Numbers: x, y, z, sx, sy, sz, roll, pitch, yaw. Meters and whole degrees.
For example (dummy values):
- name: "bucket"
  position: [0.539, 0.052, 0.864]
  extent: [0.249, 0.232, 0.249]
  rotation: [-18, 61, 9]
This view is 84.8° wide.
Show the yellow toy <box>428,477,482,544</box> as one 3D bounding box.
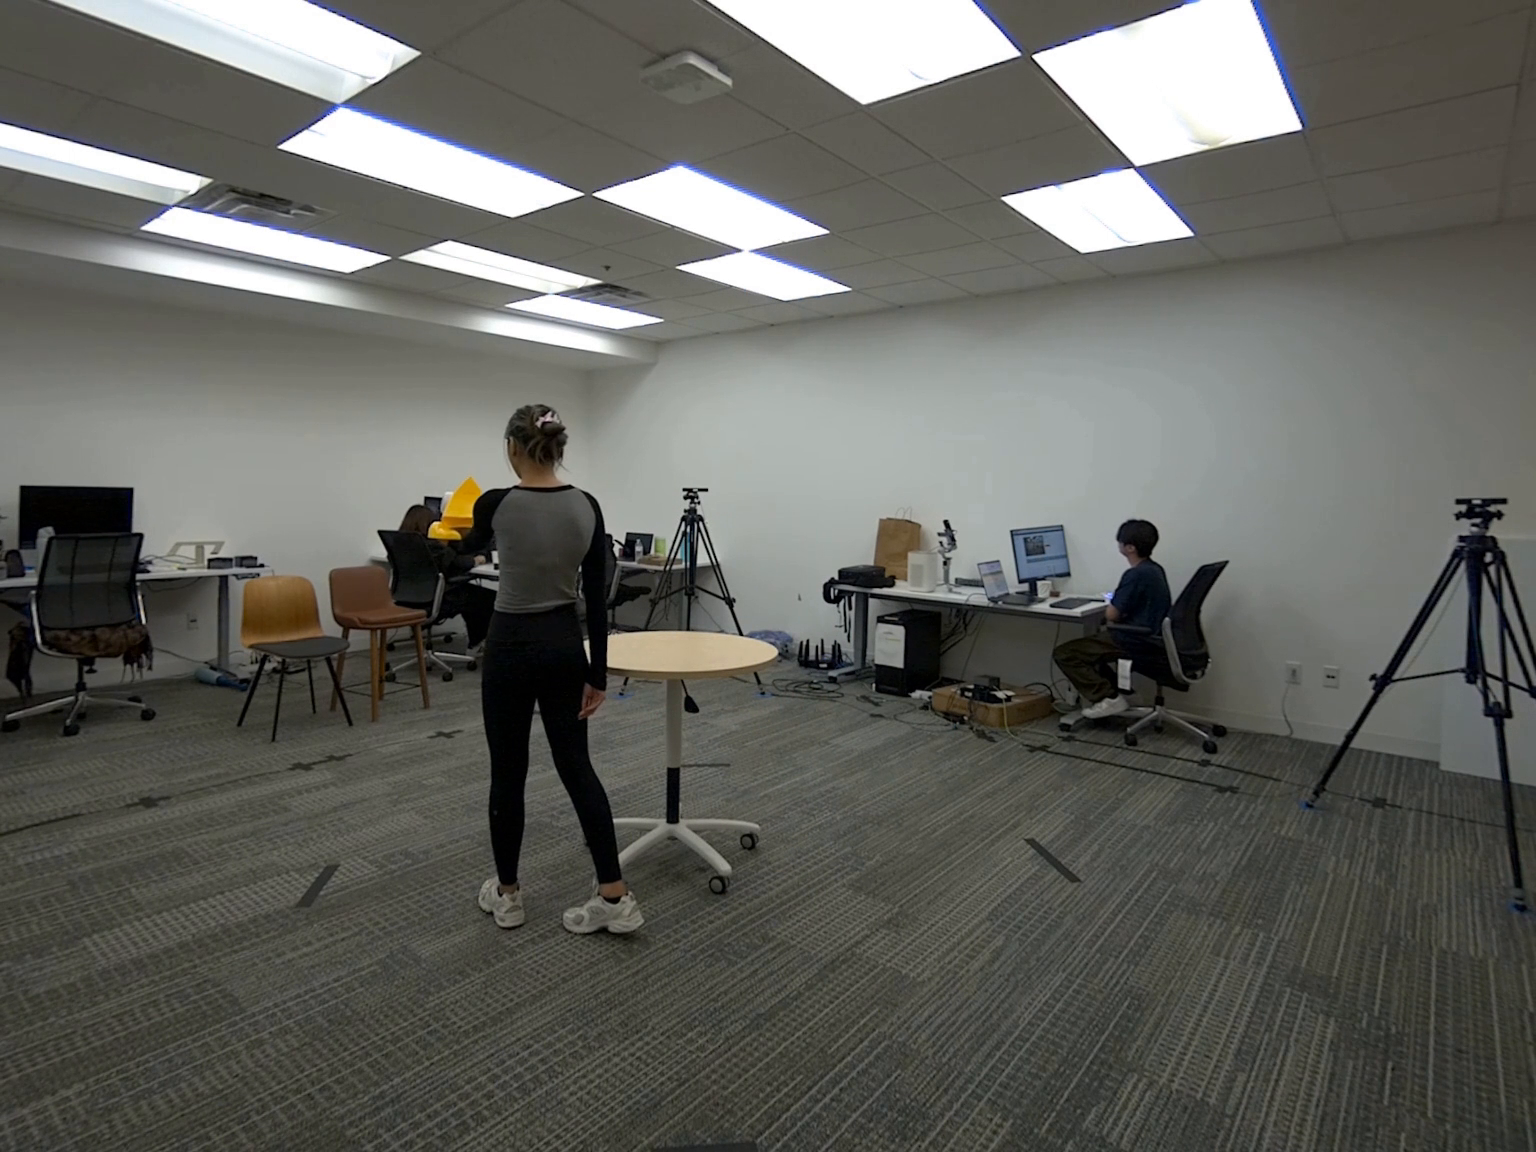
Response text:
- name: "yellow toy"
  position: [-1.132, -0.249, 3.087]
  extent: [0.199, 0.230, 0.198]
  rotation: [4, 1, 45]
